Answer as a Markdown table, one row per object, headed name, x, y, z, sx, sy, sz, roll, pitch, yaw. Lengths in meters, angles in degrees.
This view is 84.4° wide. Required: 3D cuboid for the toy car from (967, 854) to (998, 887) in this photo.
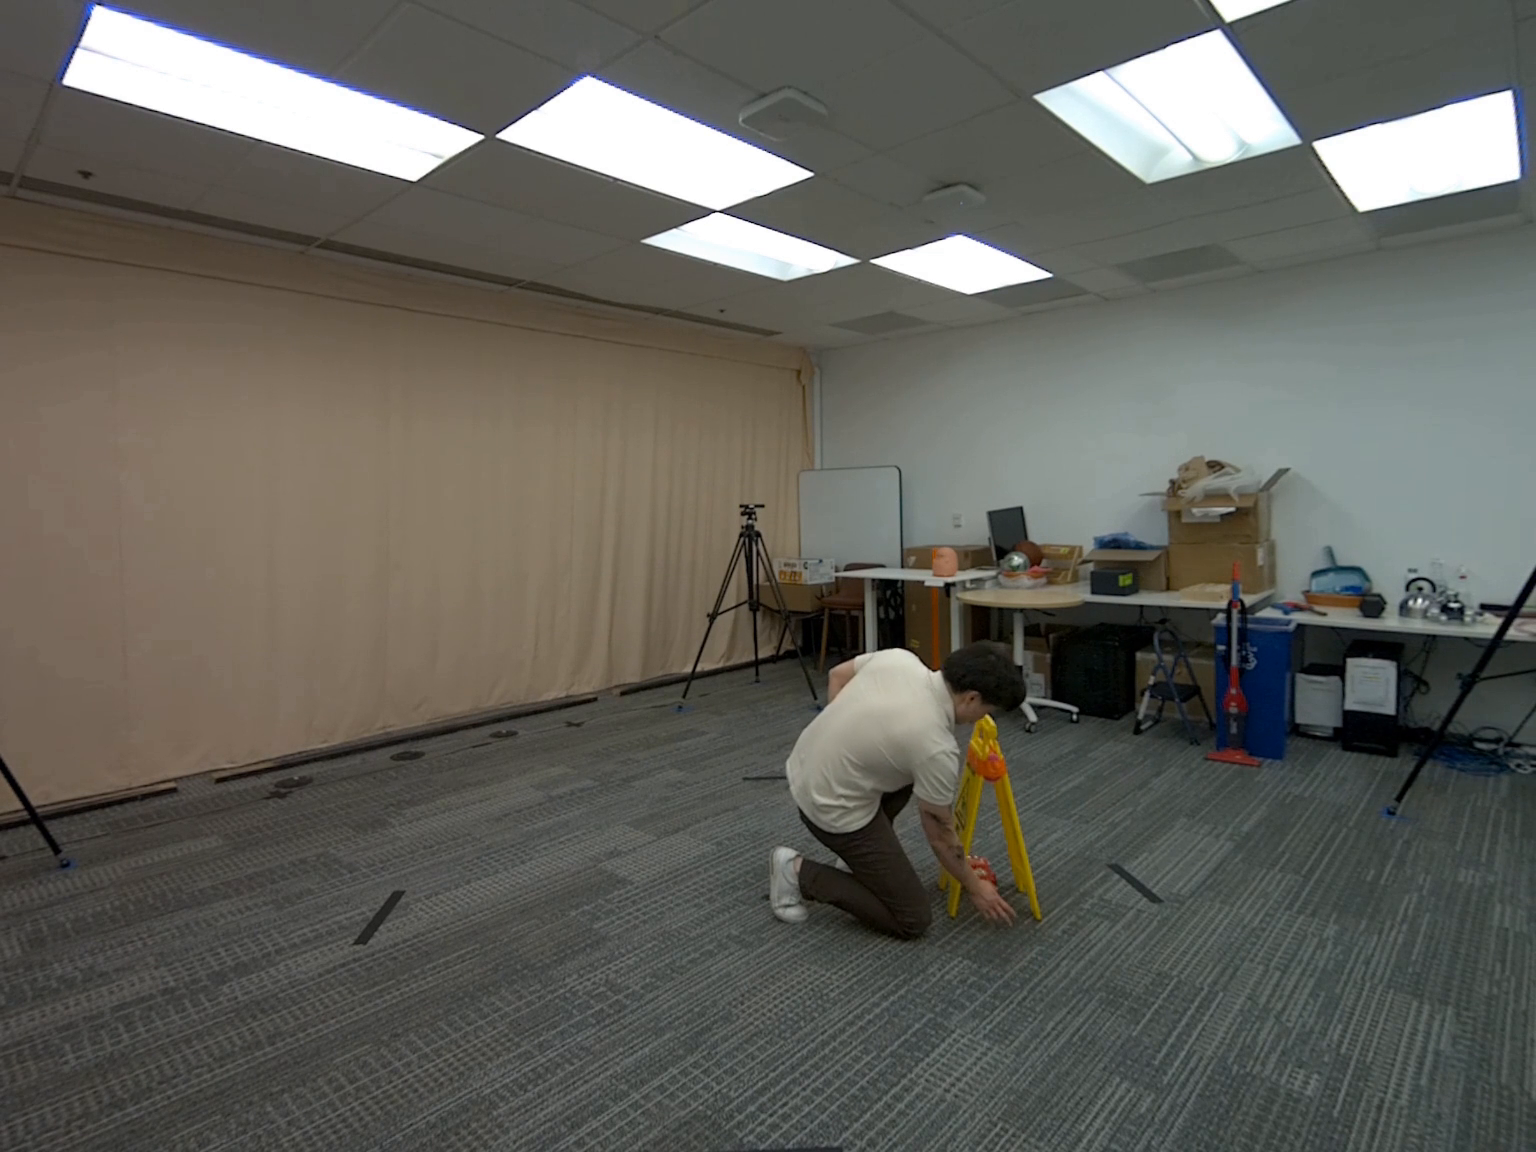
| name | x | y | z | sx | sy | sz | roll | pitch | yaw |
| --- | --- | --- | --- | --- | --- | --- | --- | --- | --- |
| toy car | 0.773 | 1.090 | 3.066 | 0.131 | 0.083 | 0.252 | -1 | -6 | 5 |
